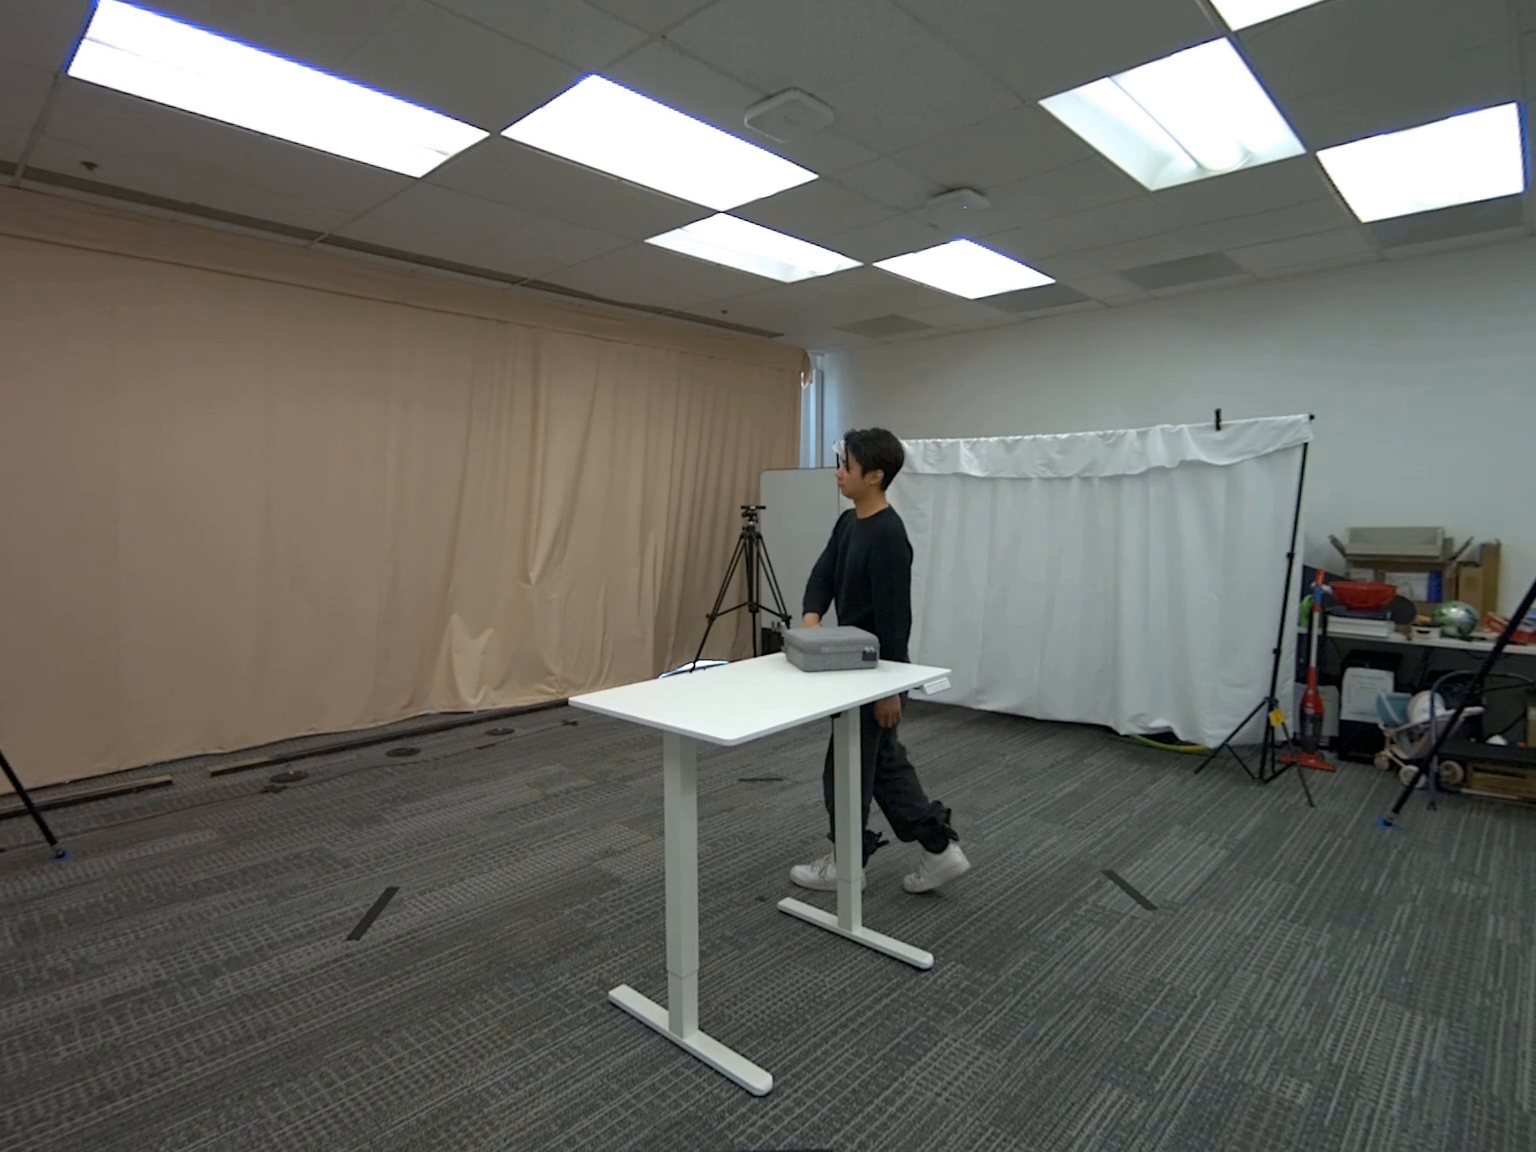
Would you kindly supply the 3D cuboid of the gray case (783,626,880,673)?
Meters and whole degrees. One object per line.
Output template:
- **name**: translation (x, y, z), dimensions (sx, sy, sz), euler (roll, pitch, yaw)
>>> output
- **gray case**: translation (0.196, 0.230, 2.693), dimensions (0.254, 0.104, 0.264), euler (-3, 5, -10)
